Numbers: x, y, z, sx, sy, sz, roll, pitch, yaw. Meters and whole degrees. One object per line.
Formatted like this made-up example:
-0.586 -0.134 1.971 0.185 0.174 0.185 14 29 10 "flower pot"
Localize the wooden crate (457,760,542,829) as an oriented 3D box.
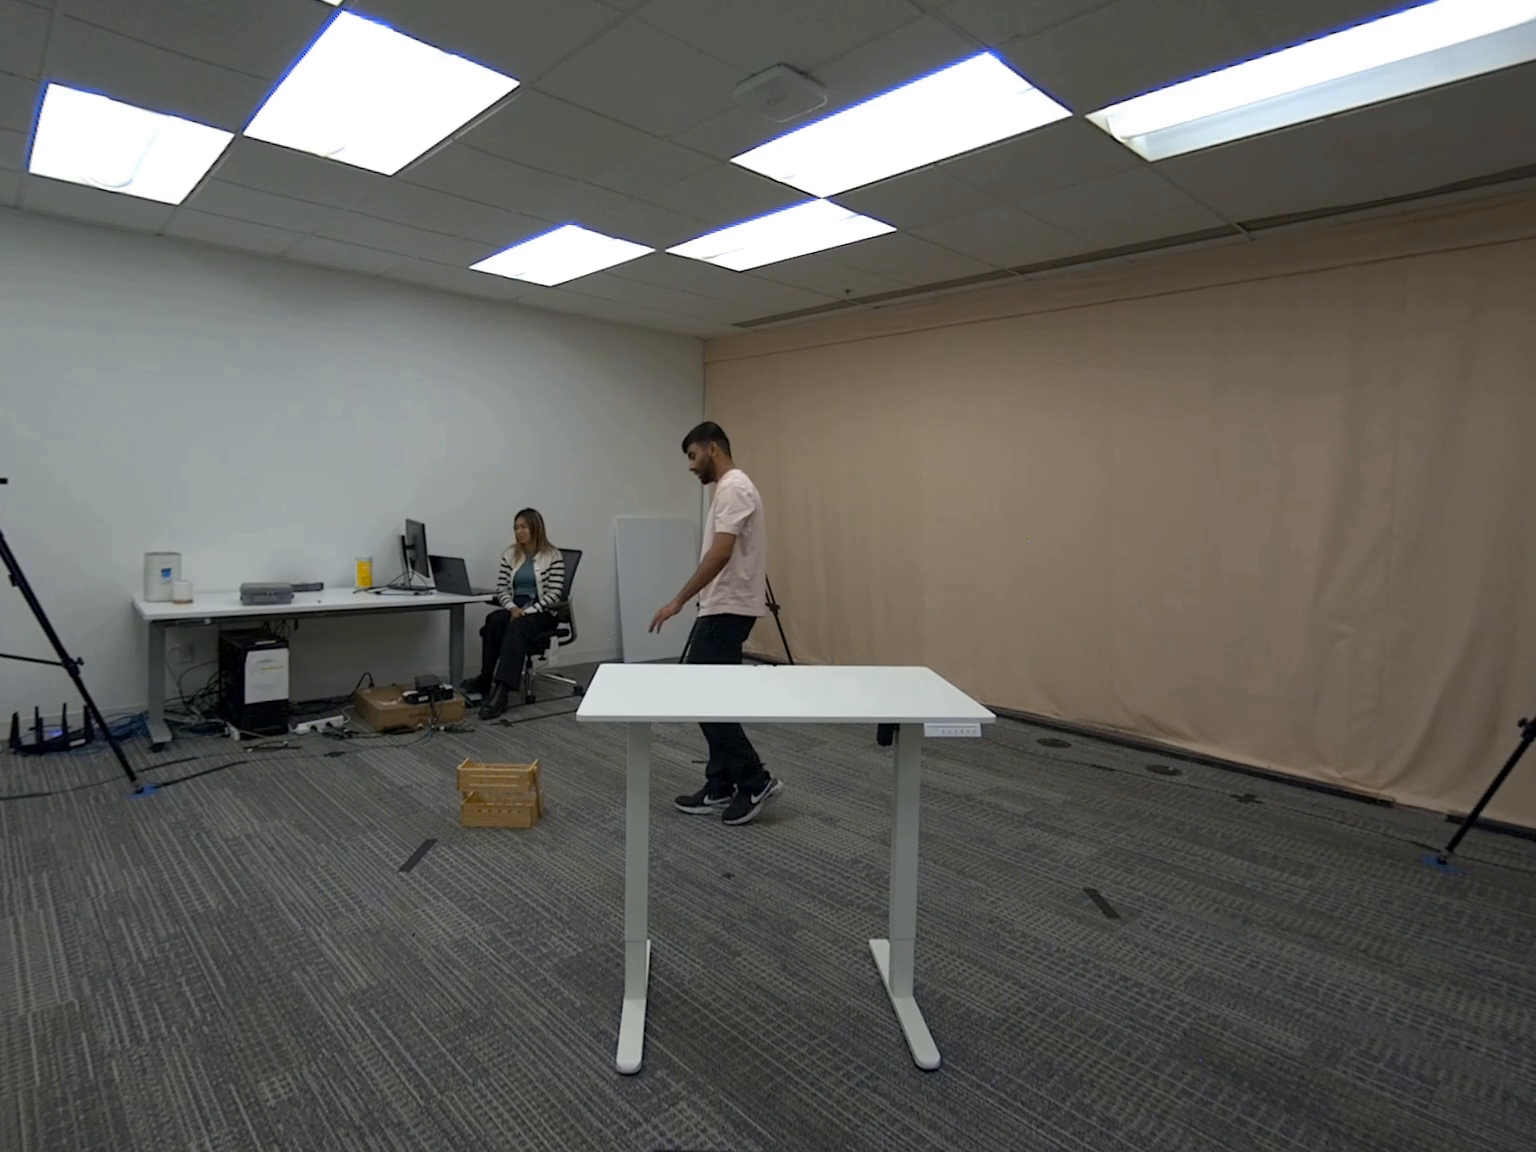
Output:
-1.149 0.908 3.606 0.324 0.272 0.303 1 5 -3 "wooden crate"
